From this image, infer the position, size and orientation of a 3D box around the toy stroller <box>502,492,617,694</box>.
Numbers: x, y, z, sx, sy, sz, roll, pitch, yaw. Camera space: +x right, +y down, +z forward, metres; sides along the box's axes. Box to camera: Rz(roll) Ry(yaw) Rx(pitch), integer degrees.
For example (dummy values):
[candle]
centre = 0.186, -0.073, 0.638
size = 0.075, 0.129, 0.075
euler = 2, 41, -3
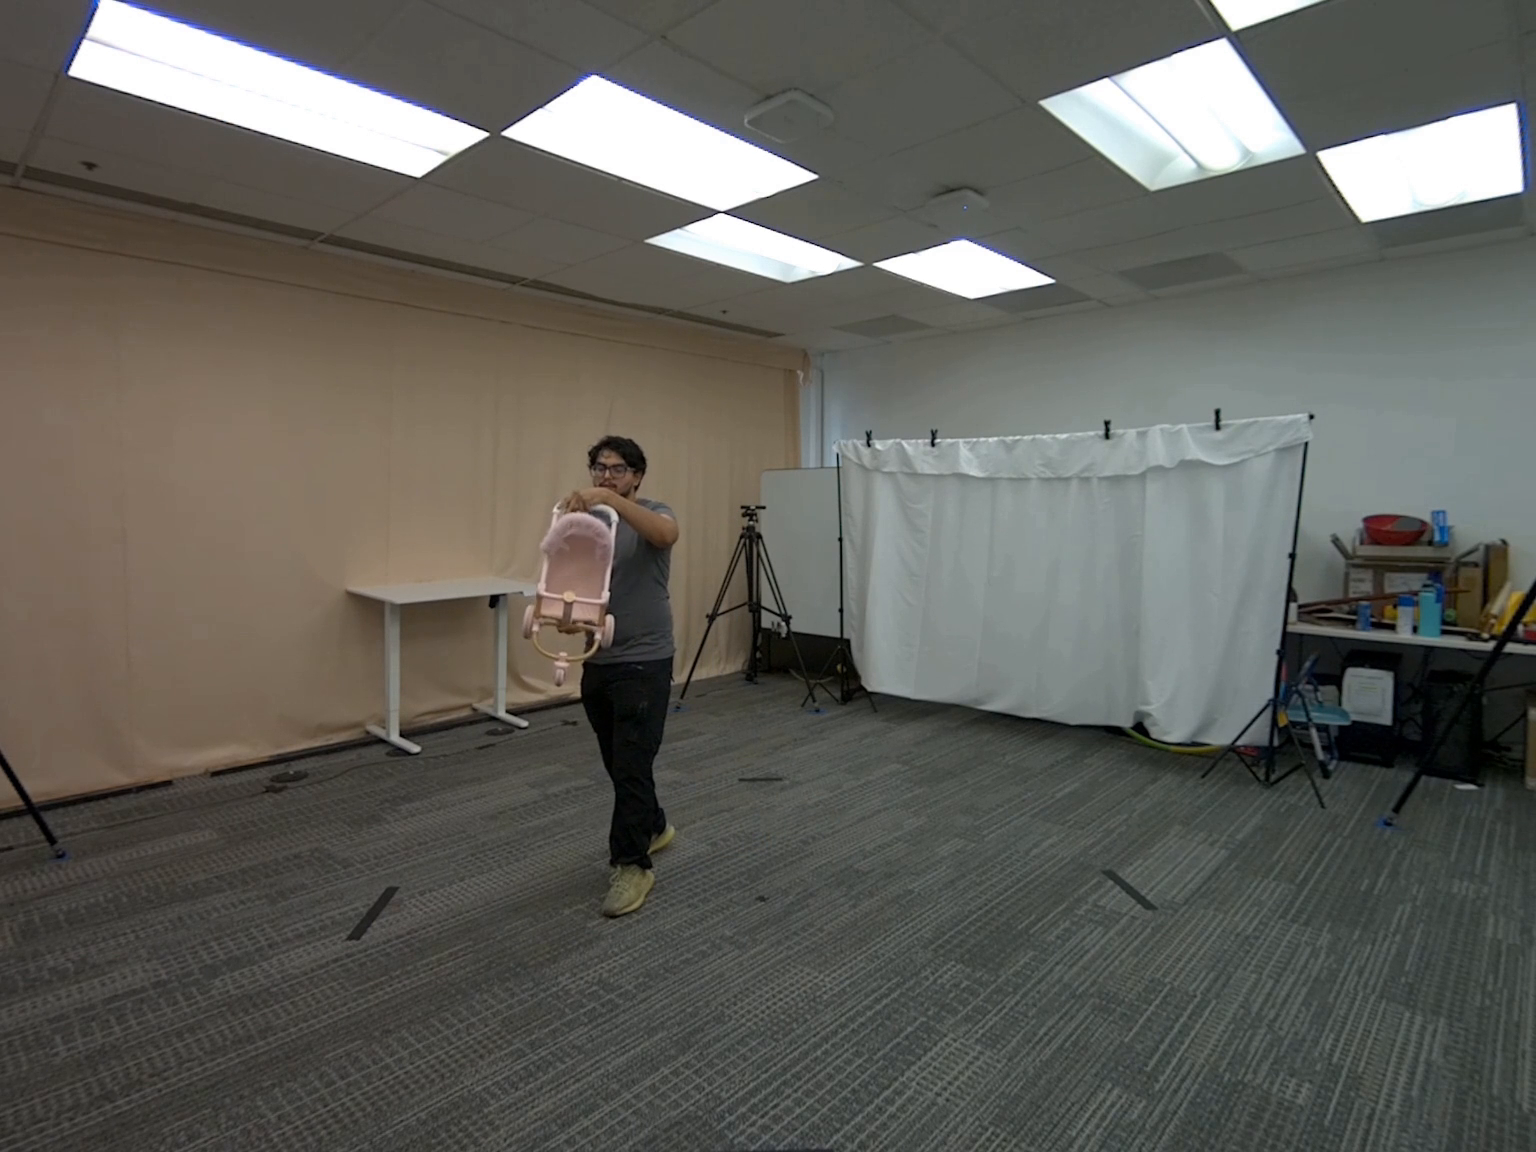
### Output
[toy stroller]
centre = -0.600, 0.038, 2.558
size = 0.279, 0.533, 0.345
euler = 8, 5, -8
